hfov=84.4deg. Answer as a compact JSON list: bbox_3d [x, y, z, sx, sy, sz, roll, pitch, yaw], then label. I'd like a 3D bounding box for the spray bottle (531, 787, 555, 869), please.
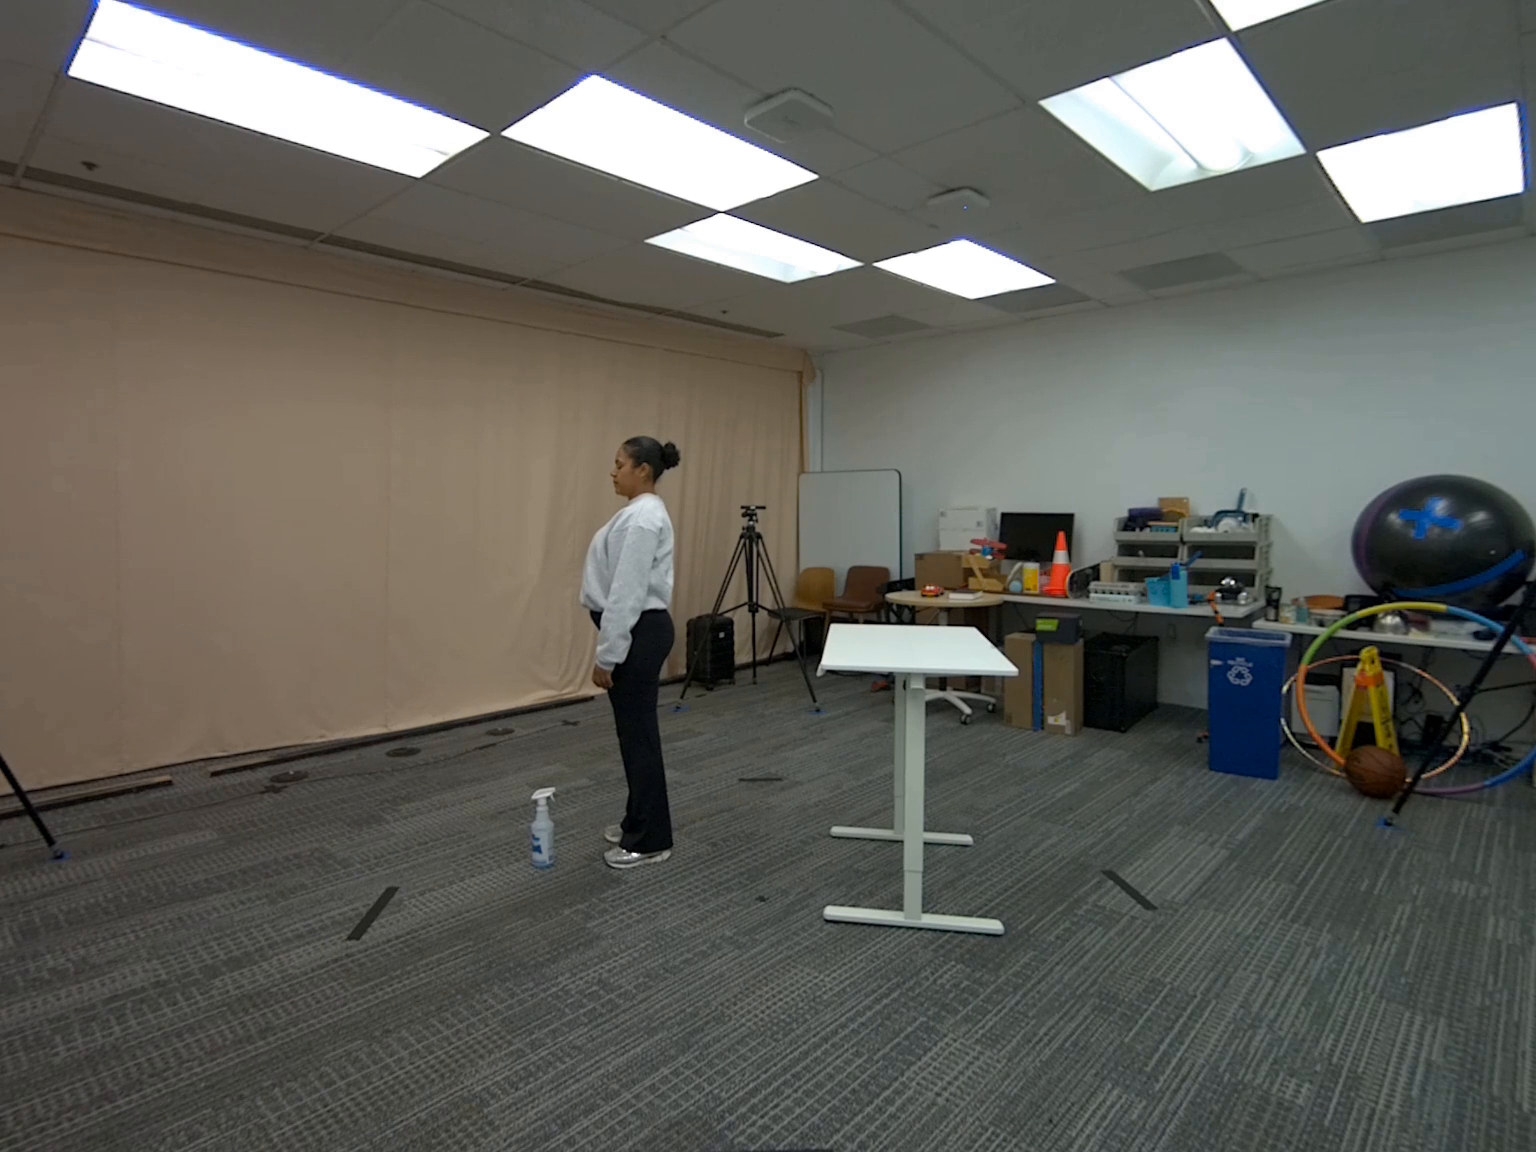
[{"bbox_3d":[-0.880,0.987,3.289,0.090,0.297,0.087,2,2,3],"label":"spray bottle"}]
